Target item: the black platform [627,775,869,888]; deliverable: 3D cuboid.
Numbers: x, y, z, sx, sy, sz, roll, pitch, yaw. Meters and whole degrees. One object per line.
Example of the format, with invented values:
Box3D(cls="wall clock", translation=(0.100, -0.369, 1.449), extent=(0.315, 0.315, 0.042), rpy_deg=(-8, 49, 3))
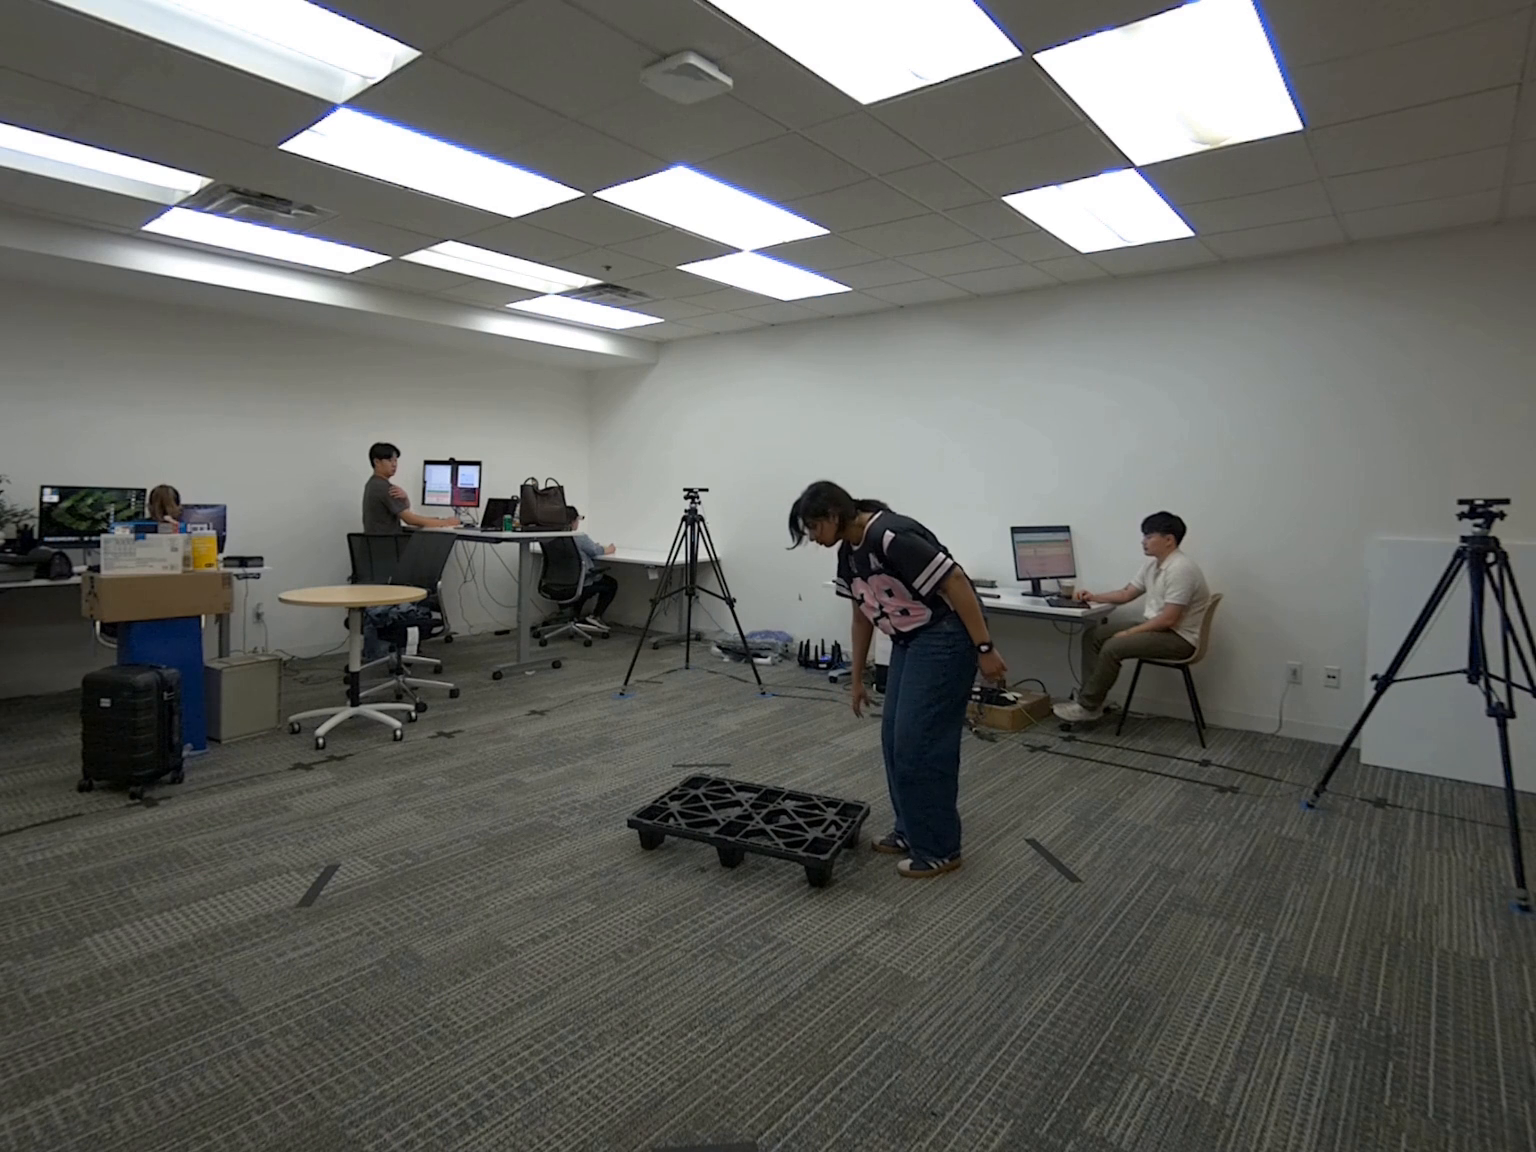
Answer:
Box3D(cls="black platform", translation=(-0.076, 0.982, 3.340), extent=(0.826, 0.143, 0.592), rpy_deg=(4, 5, 23))
